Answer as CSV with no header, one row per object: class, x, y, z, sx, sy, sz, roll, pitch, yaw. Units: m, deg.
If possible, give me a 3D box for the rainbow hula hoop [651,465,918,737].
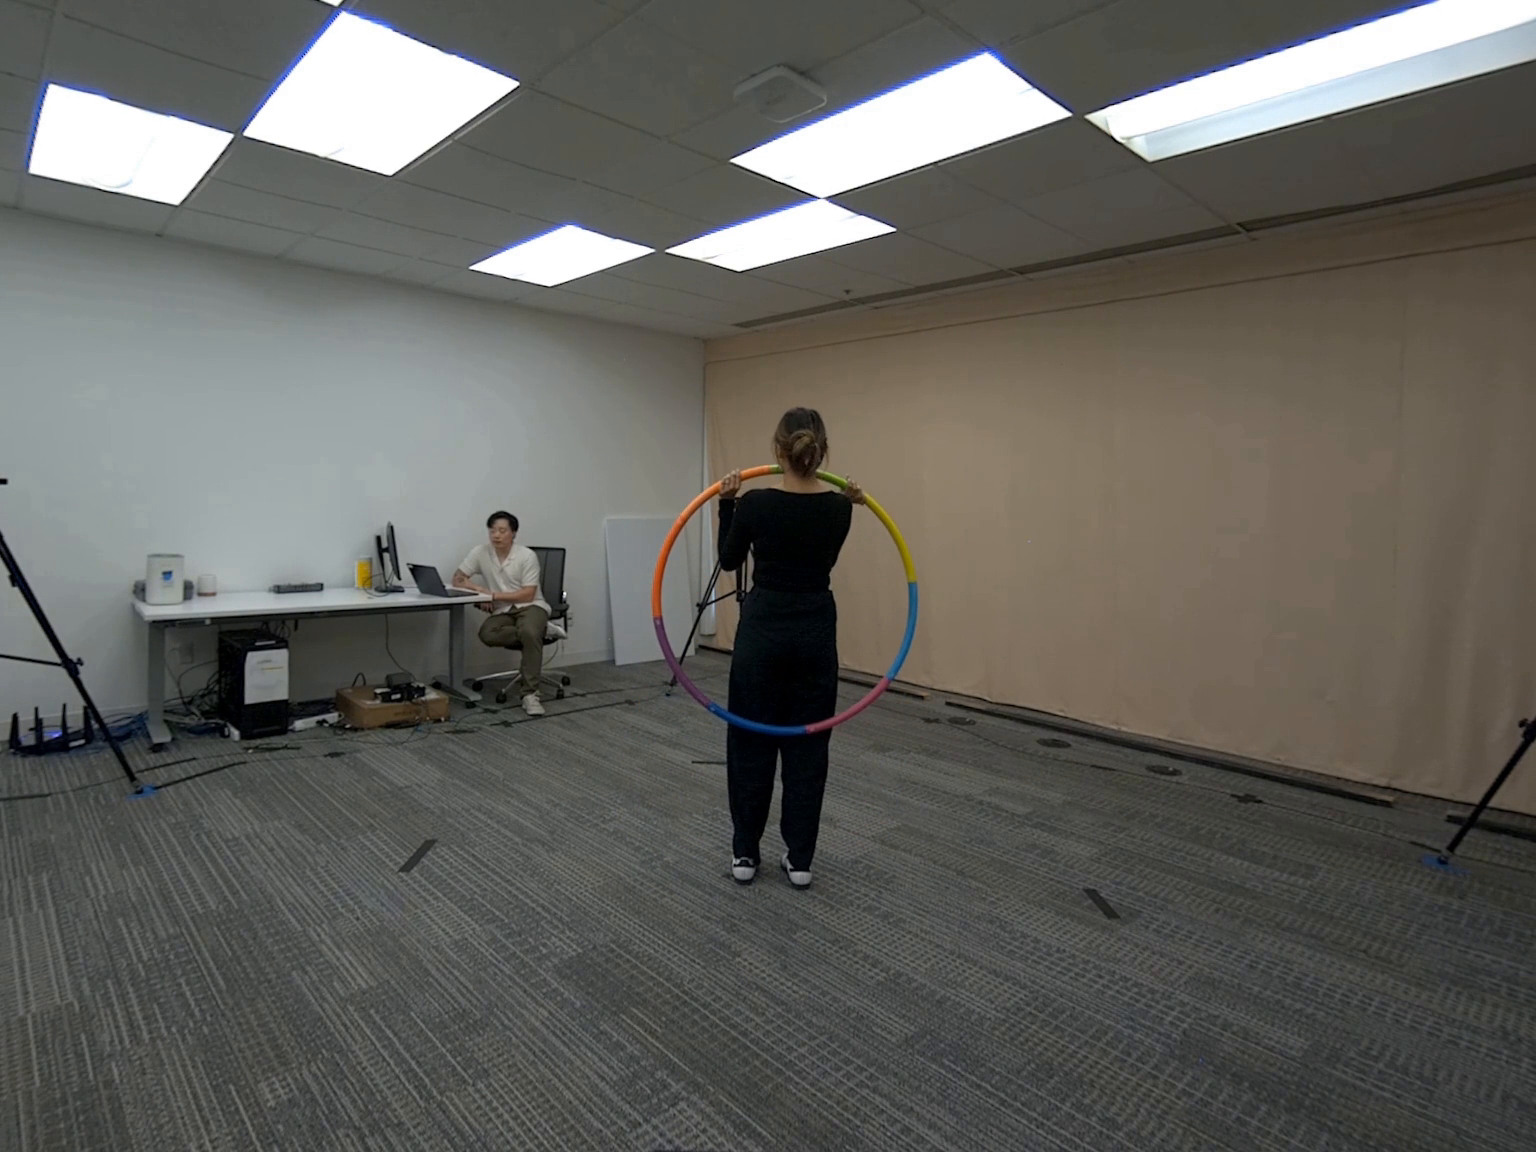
rainbow hula hoop,0.064,0.082,3.076,0.973,0.982,0.035,1,-5,-6
